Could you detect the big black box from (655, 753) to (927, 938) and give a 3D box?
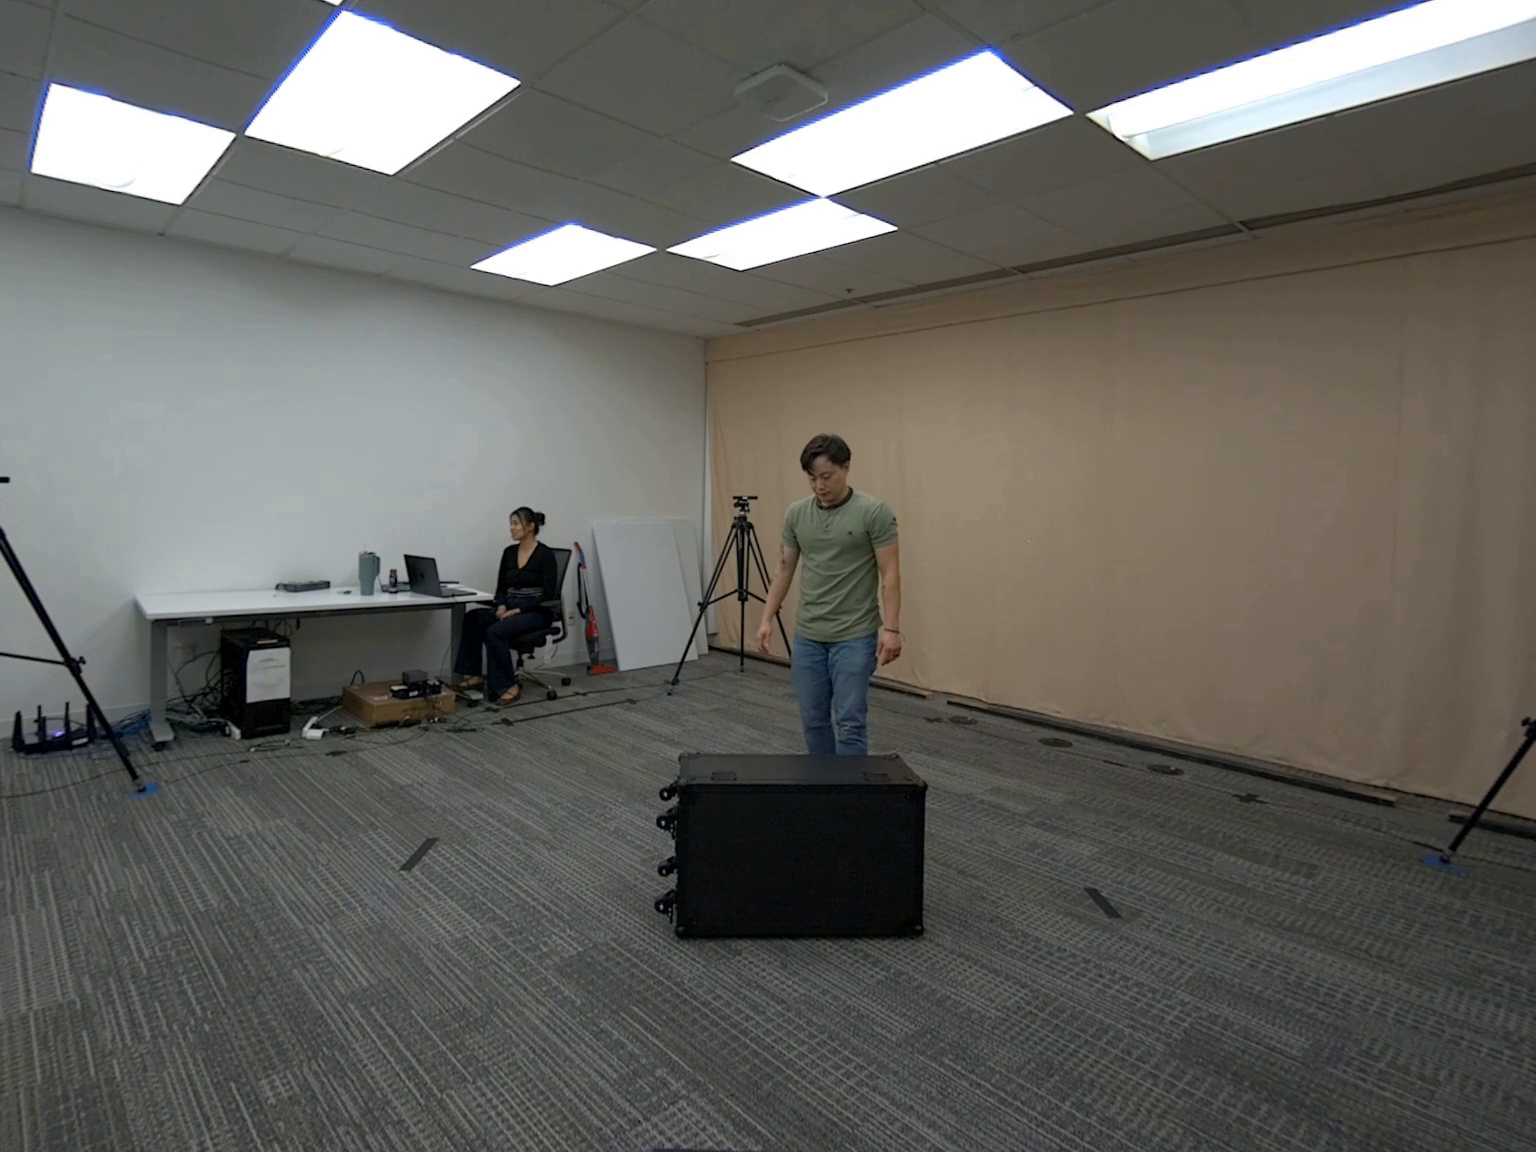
[{"bbox_3d":[0.051,0.876,2.825,0.859,0.521,0.398,1,1,-4],"label":"big black box"}]
